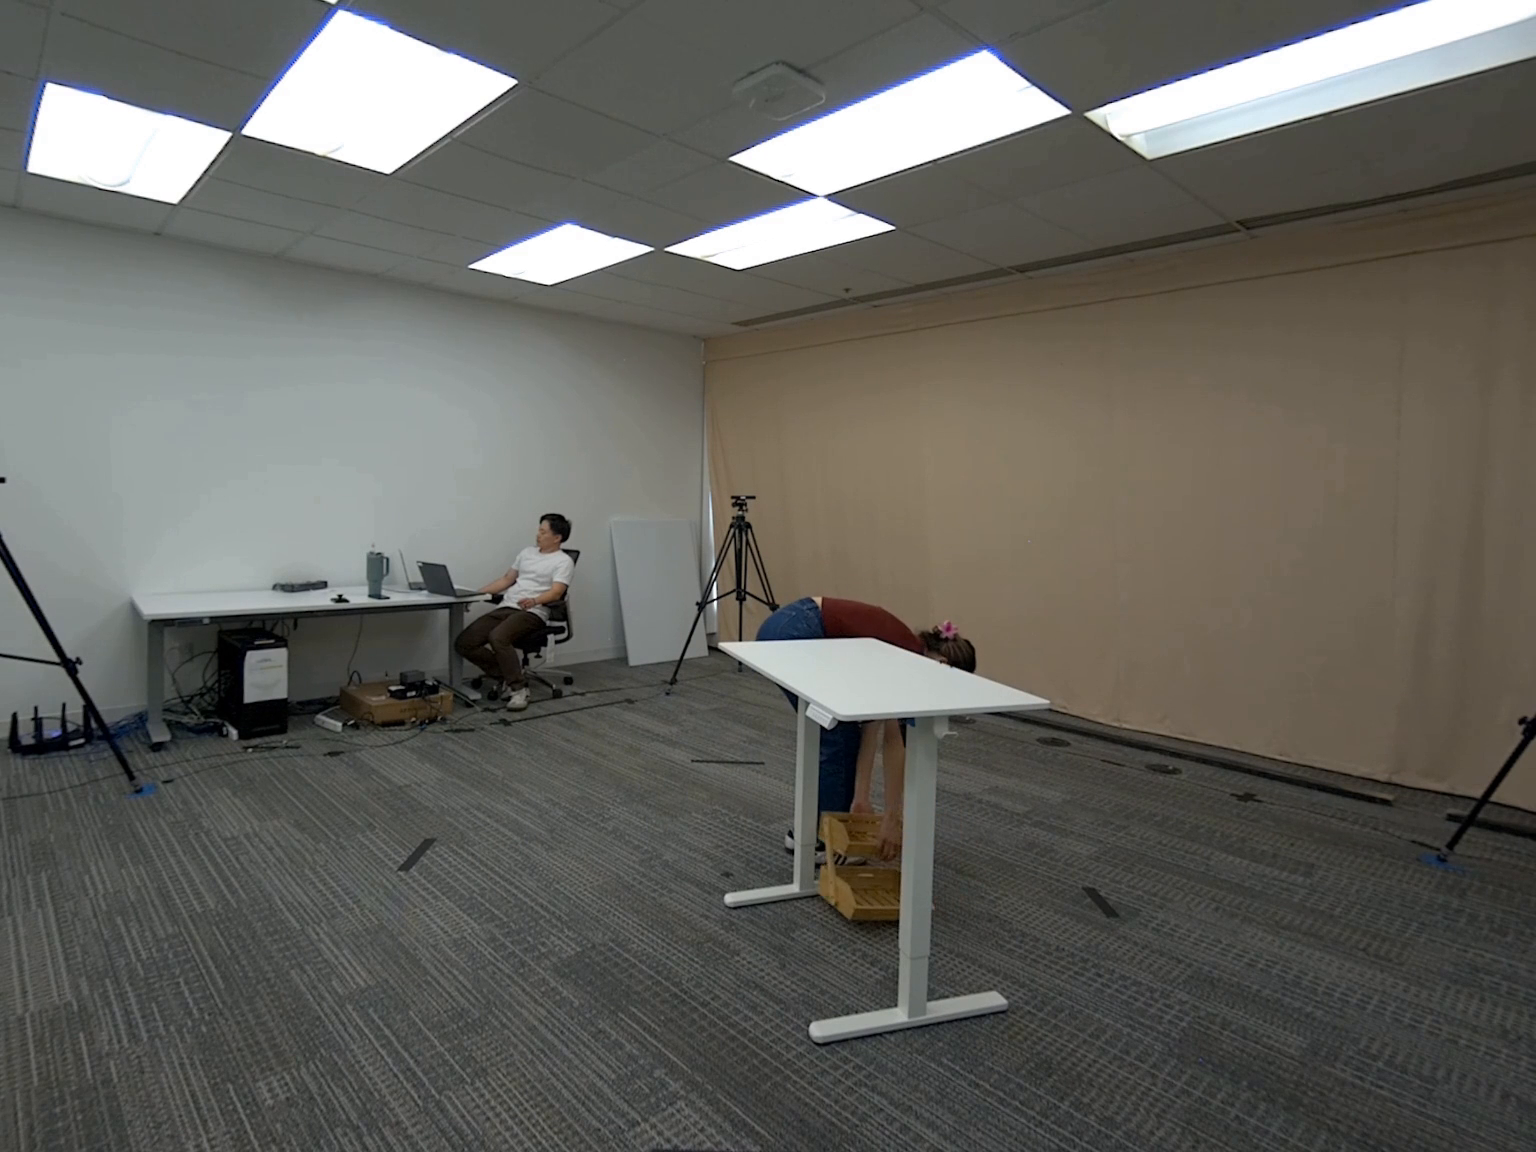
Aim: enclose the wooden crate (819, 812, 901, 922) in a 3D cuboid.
[{"bbox_3d":[0.363,0.979,2.836,0.319,0.274,0.307,8,-2,-21],"label":"wooden crate"}]
